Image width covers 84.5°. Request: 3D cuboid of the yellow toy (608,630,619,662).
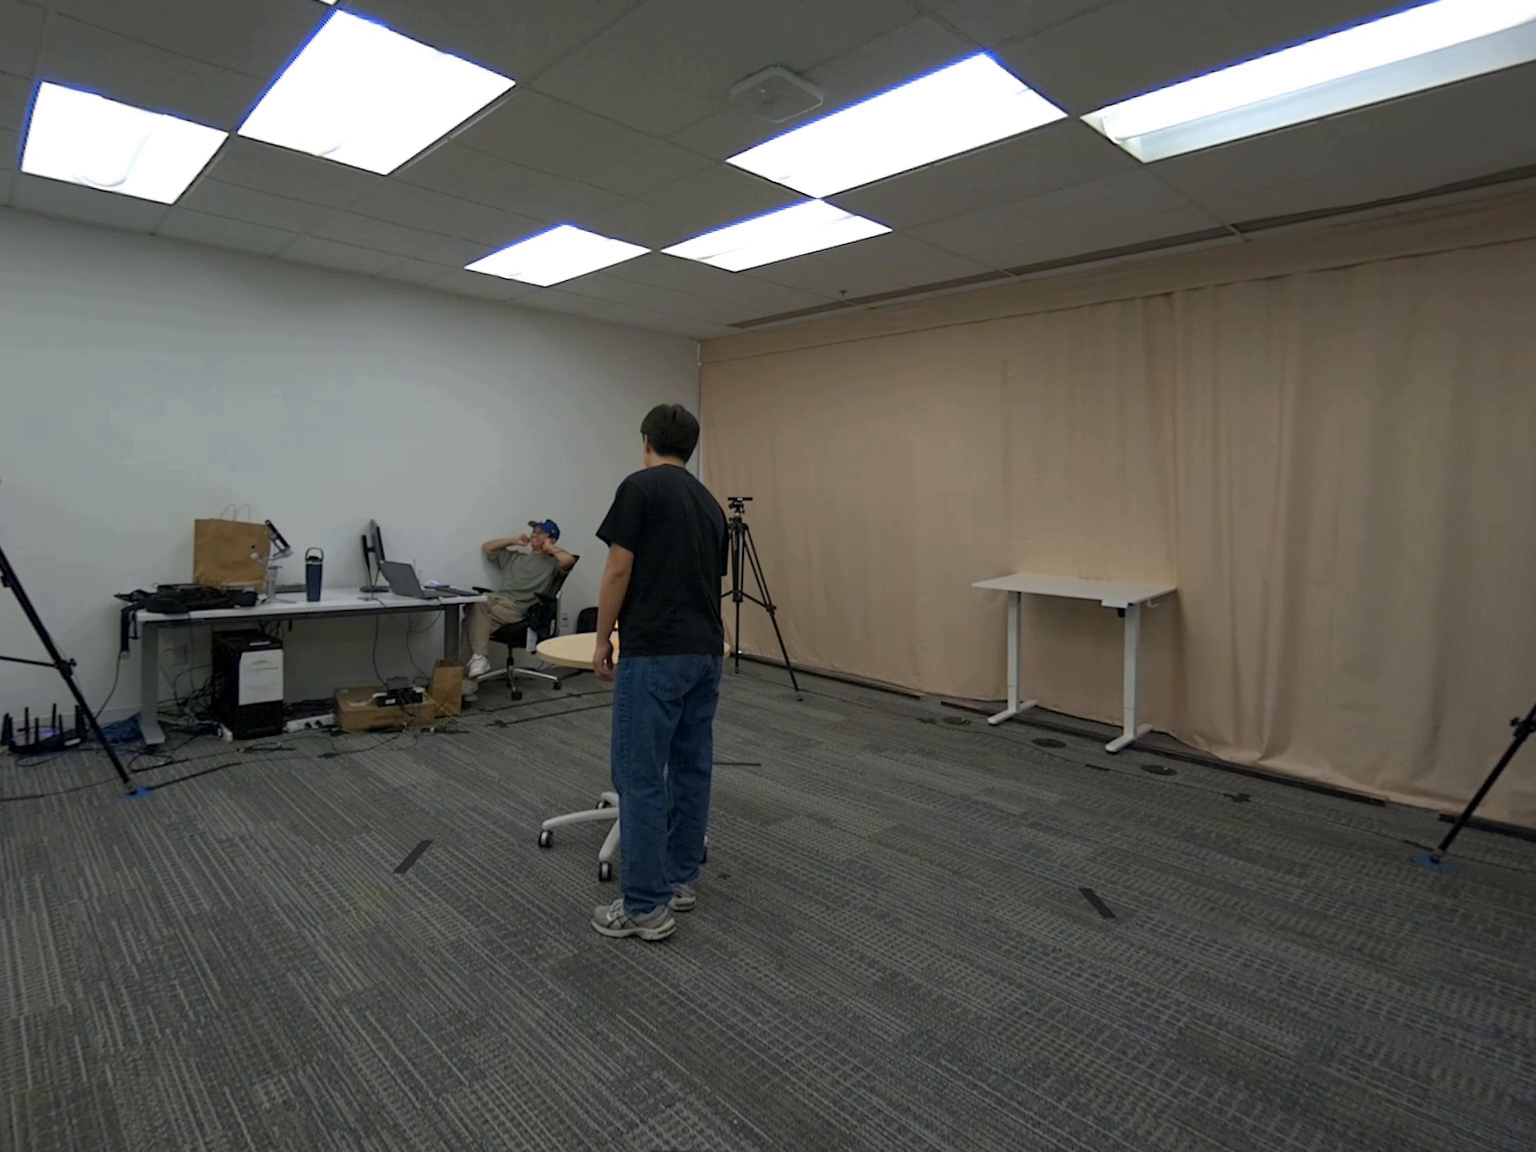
[{"bbox_3d":[-0.515,0.169,3.368,0.209,0.230,0.189,3,4,32],"label":"yellow toy"}]
